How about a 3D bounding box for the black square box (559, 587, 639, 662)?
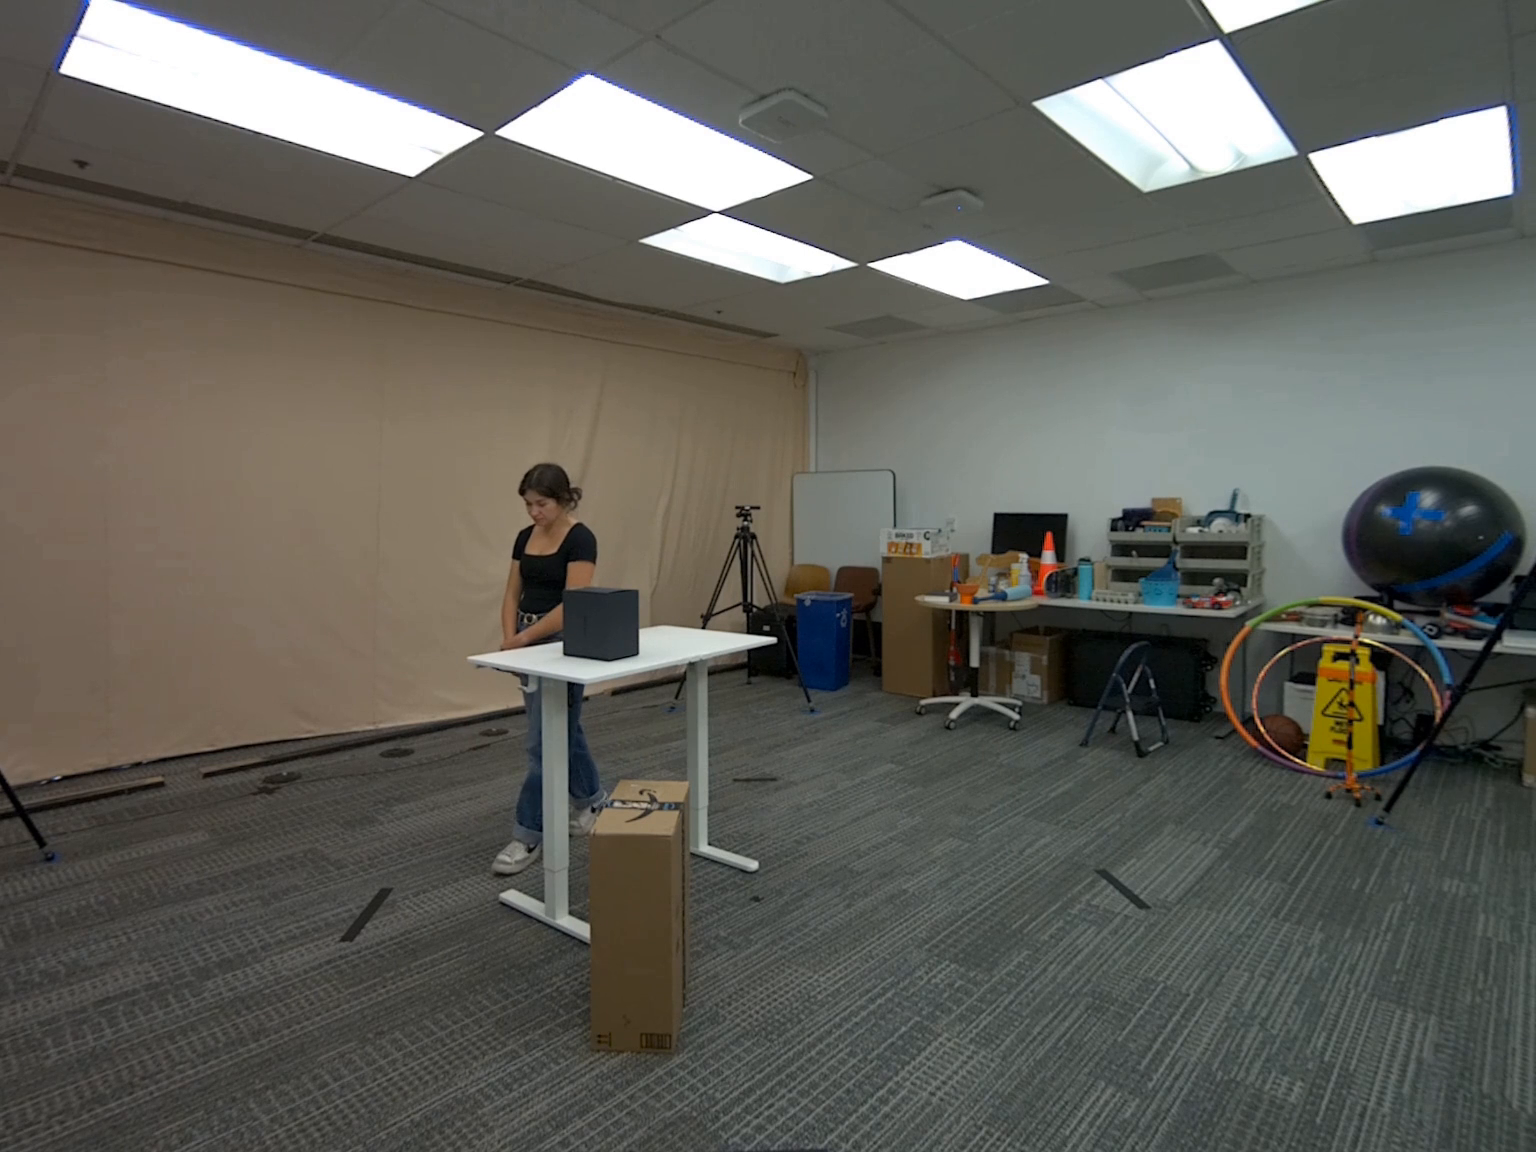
[{"bbox_3d":[-0.579,0.159,2.883,0.224,0.227,0.151,2,4,34],"label":"black square box"}]
